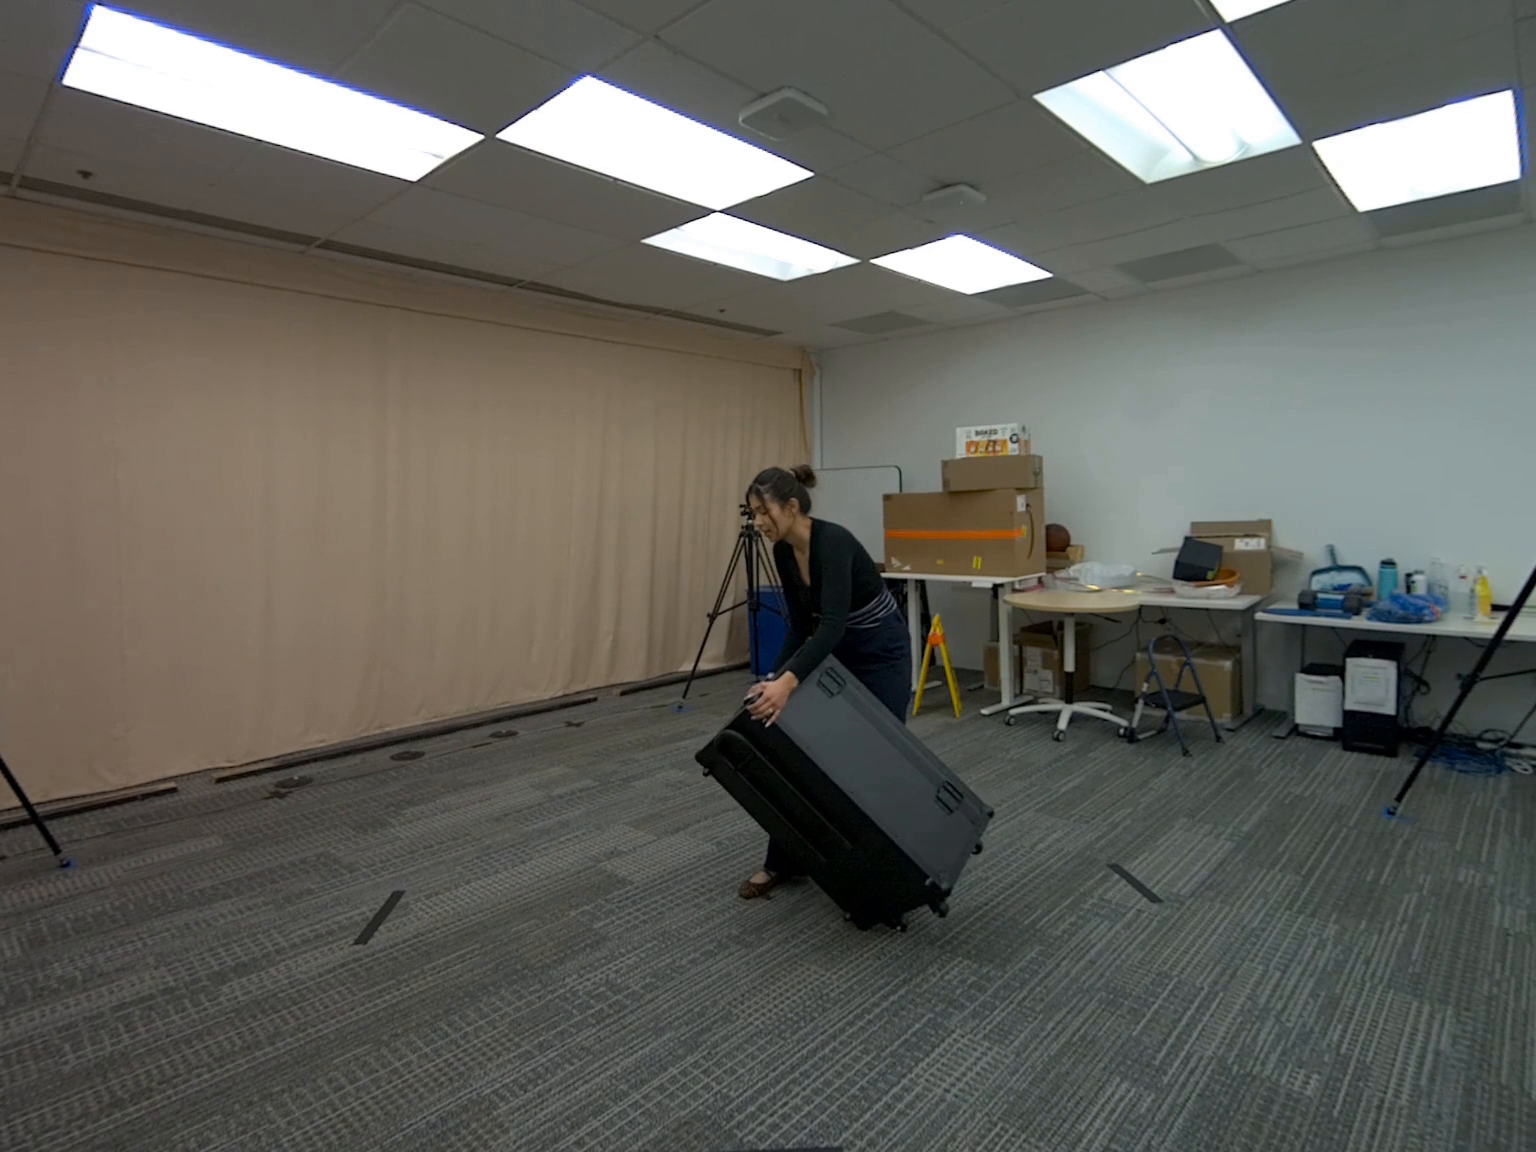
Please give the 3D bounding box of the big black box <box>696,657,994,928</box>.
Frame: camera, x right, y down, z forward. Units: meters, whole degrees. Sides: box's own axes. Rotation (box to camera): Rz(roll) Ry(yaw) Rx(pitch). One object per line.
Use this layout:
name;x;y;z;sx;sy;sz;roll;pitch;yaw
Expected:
big black box;0.256;0.710;2.721;0.391;0.868;0.523;-41;-8;-44
